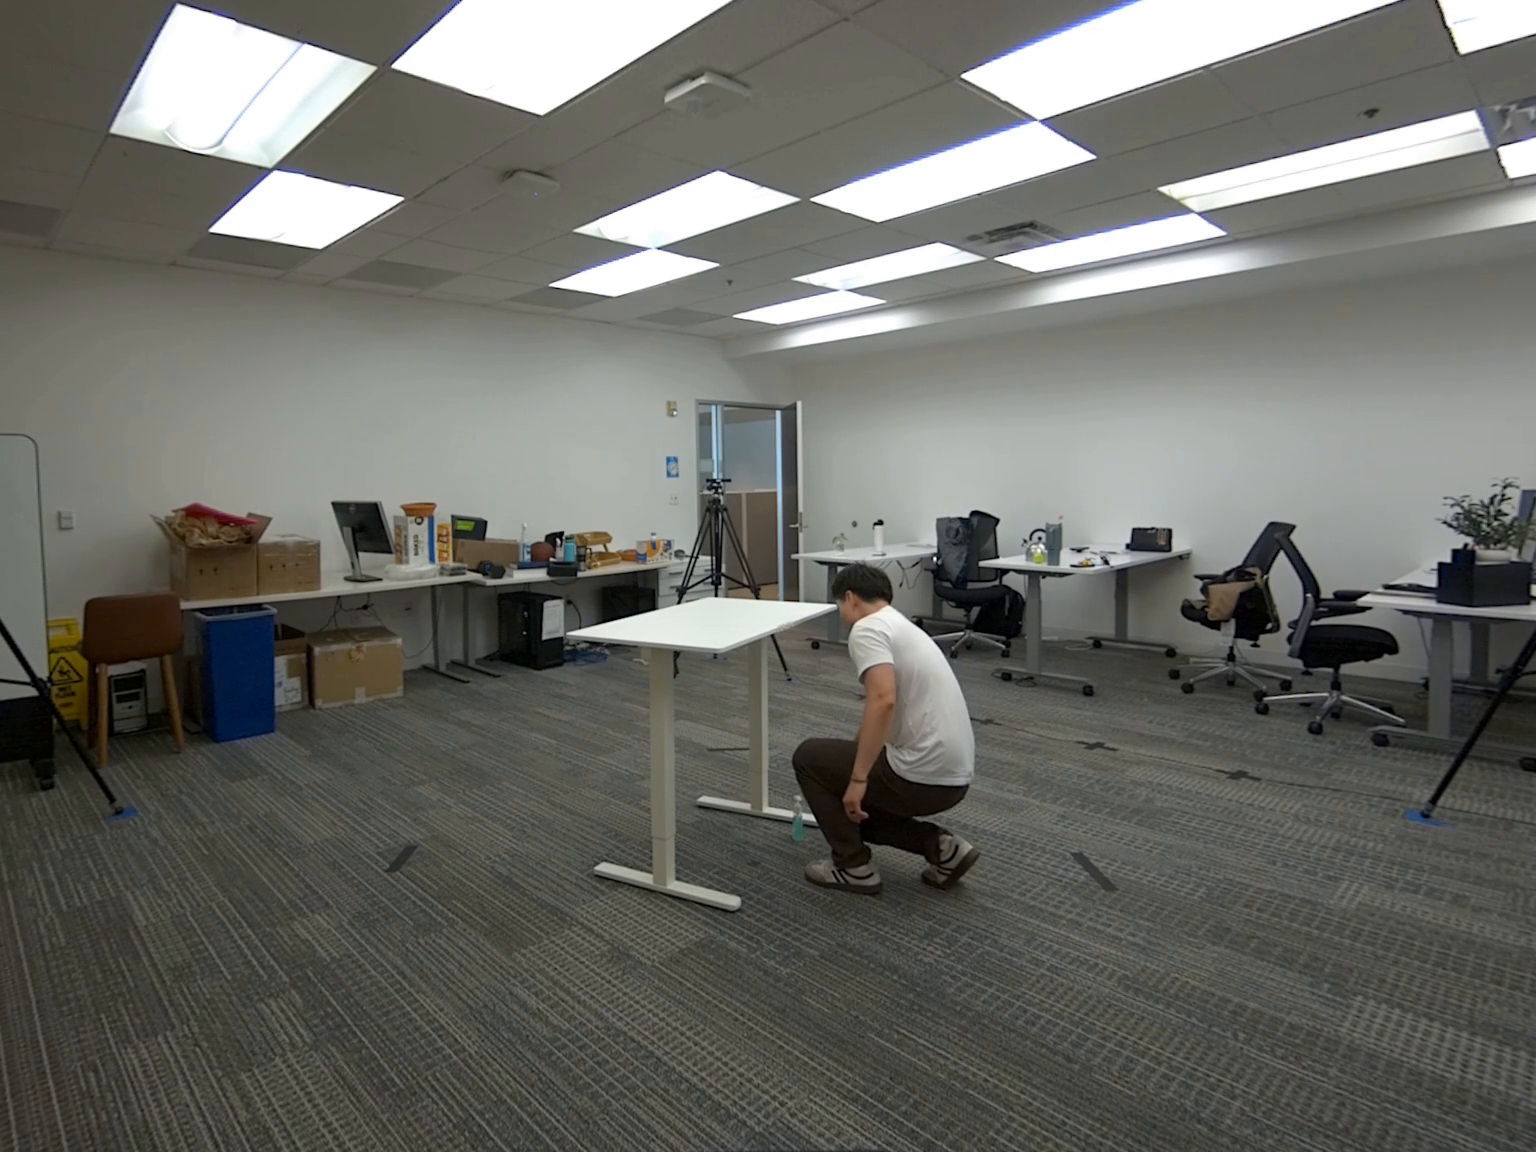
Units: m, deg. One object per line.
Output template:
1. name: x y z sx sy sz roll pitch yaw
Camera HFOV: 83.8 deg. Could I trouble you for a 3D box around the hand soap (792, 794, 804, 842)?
1. hand soap: 0.120 0.941 3.310 0.043 0.167 0.085 0 5 -3
